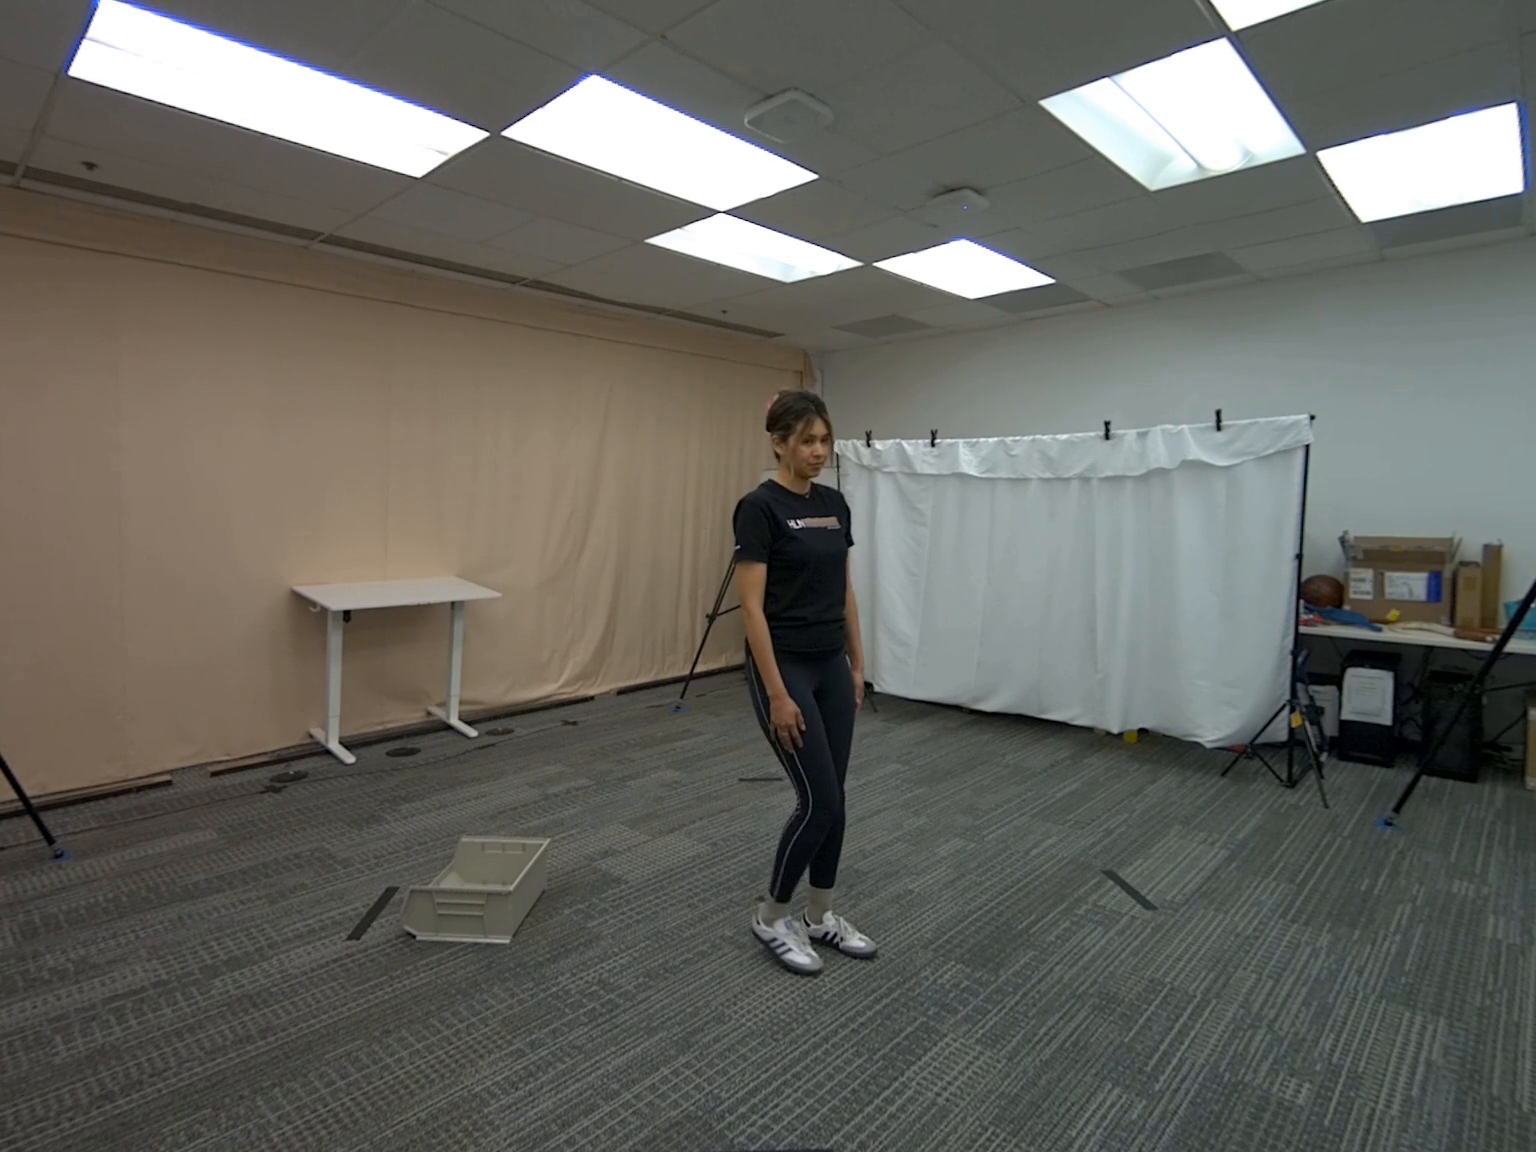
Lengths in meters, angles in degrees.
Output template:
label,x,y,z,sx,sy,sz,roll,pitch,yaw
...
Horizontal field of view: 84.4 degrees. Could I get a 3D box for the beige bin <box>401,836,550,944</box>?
label,x,y,z,sx,sy,sz,roll,pitch,yaw
beige bin,-1.001,1.072,2.900,0.379,0.188,0.421,1,4,4
